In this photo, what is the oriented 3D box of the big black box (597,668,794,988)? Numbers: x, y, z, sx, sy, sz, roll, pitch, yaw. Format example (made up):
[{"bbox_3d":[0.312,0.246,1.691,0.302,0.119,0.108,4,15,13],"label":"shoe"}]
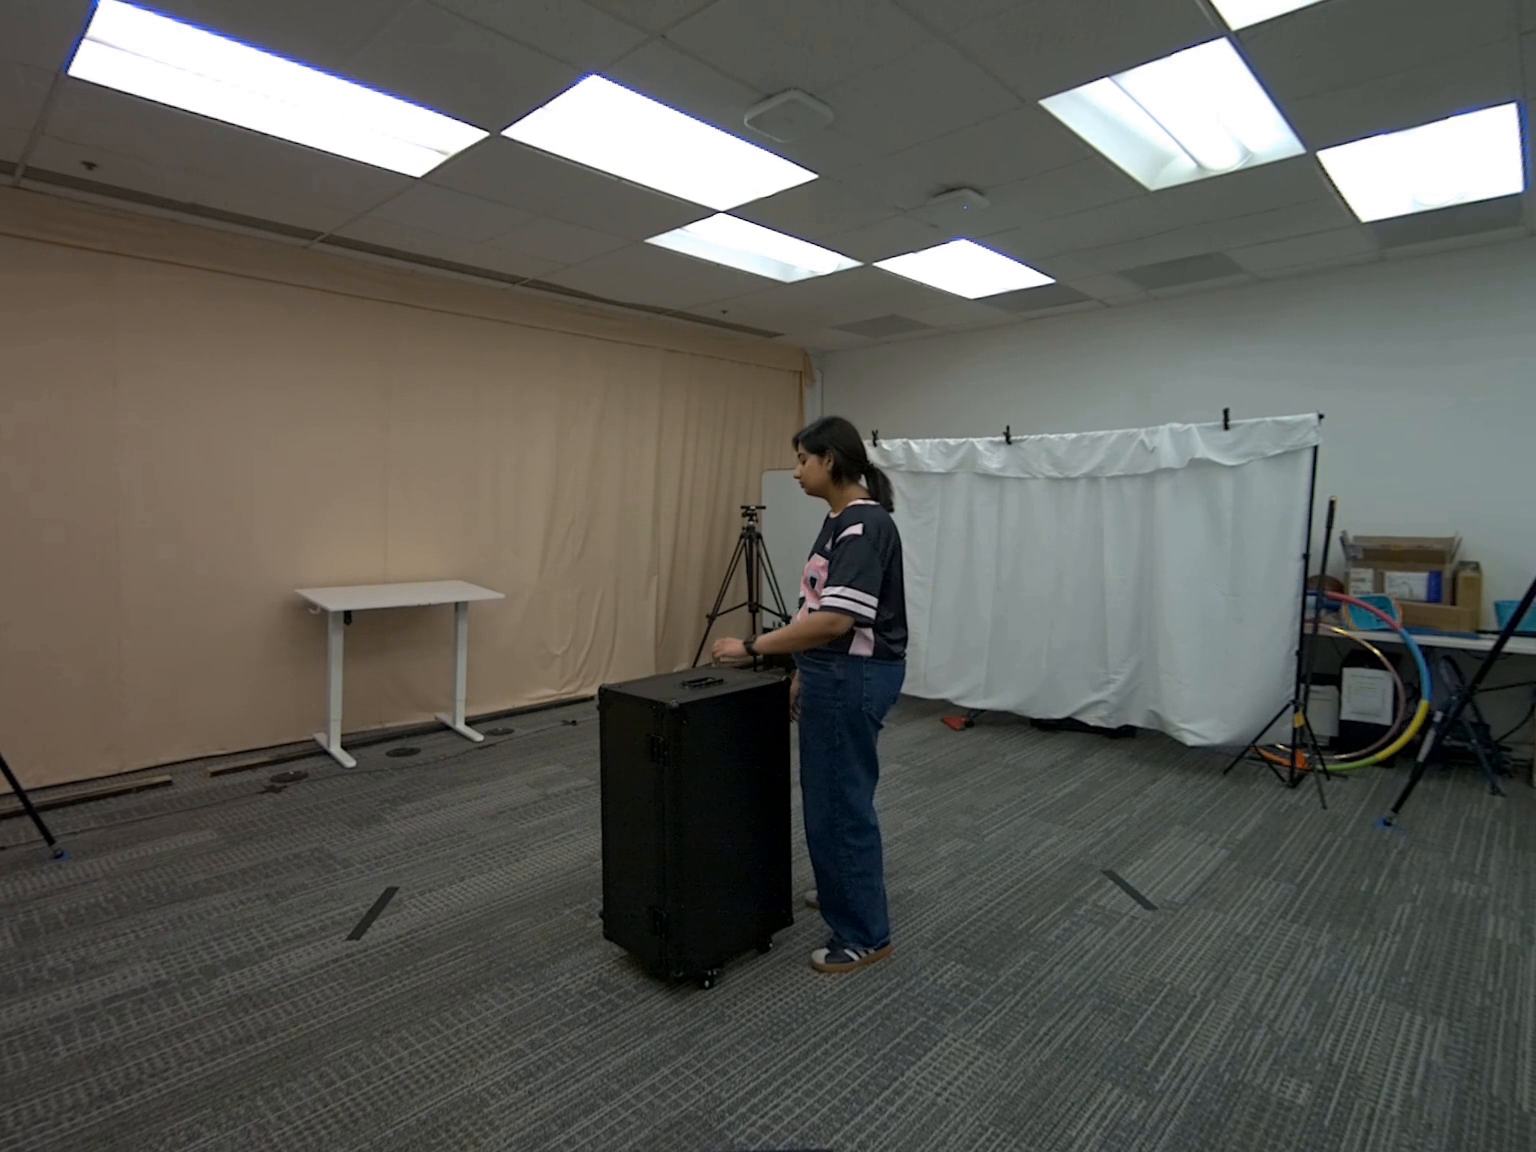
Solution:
[{"bbox_3d":[-0.226,0.759,2.598,0.398,0.867,0.507,2,3,44],"label":"big black box"}]
